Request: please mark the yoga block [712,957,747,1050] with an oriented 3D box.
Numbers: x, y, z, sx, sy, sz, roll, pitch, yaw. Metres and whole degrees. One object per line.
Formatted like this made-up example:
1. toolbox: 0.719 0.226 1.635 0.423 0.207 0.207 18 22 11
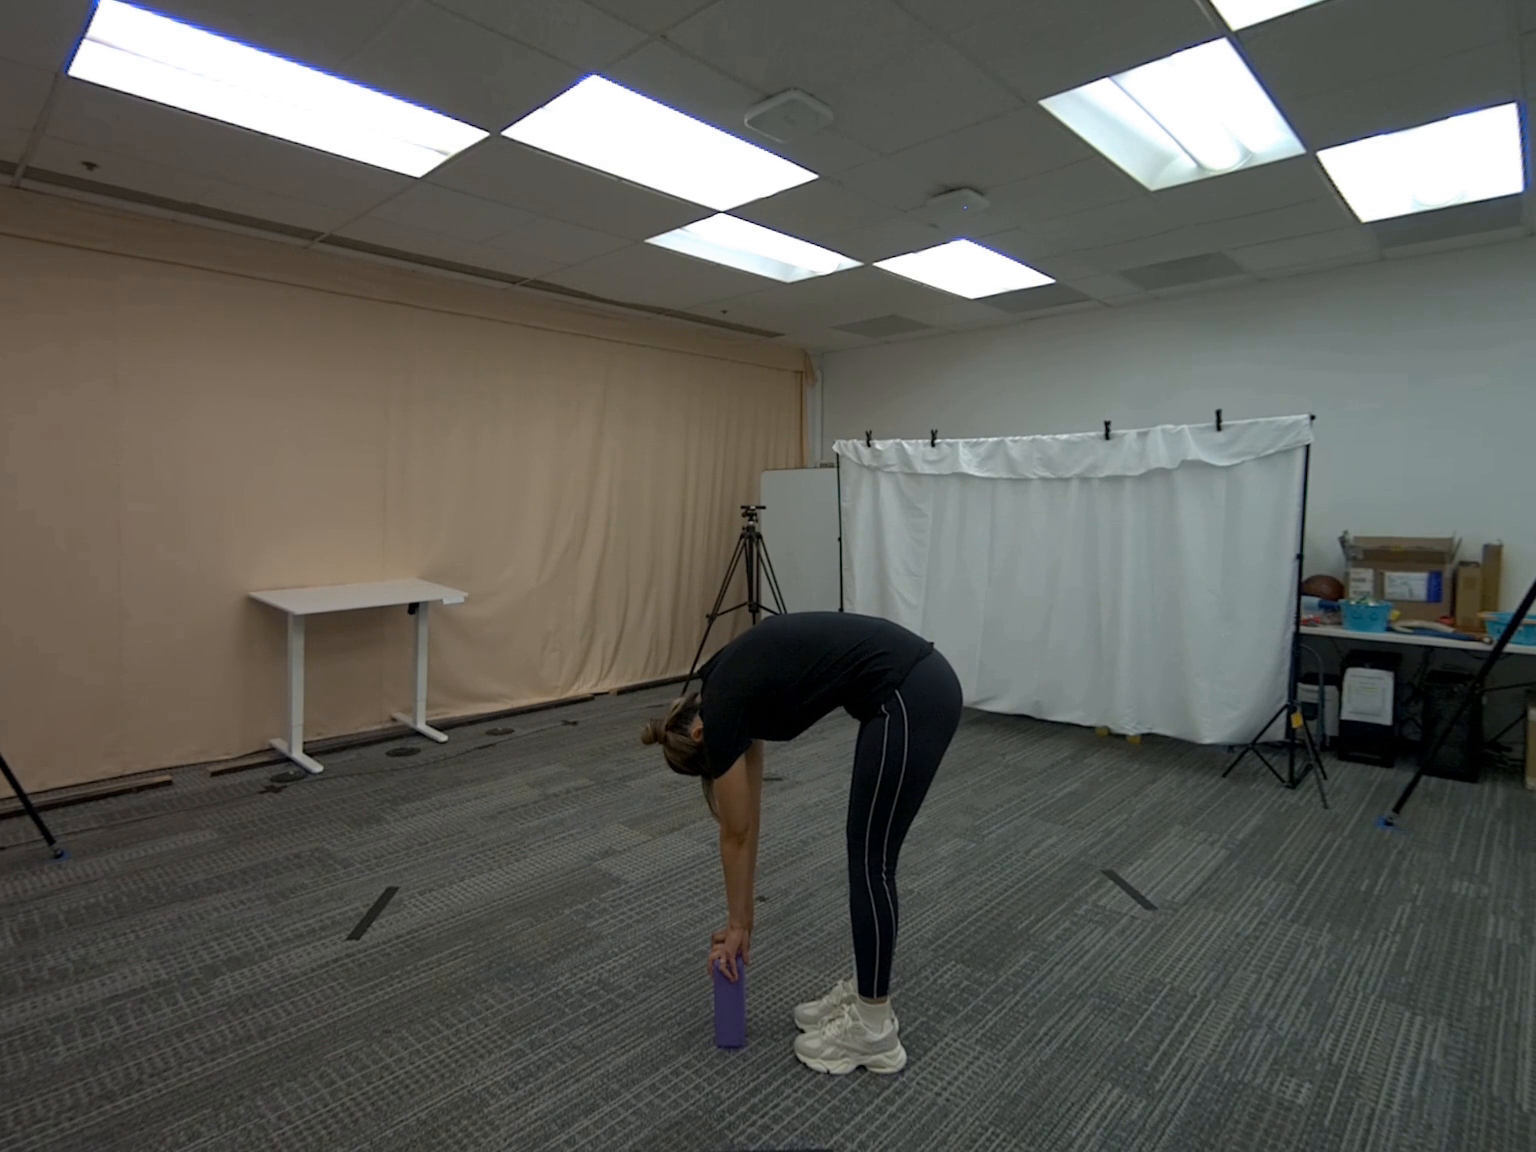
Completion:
1. yoga block: -0.099 1.102 2.223 0.076 0.229 0.149 1 2 0
